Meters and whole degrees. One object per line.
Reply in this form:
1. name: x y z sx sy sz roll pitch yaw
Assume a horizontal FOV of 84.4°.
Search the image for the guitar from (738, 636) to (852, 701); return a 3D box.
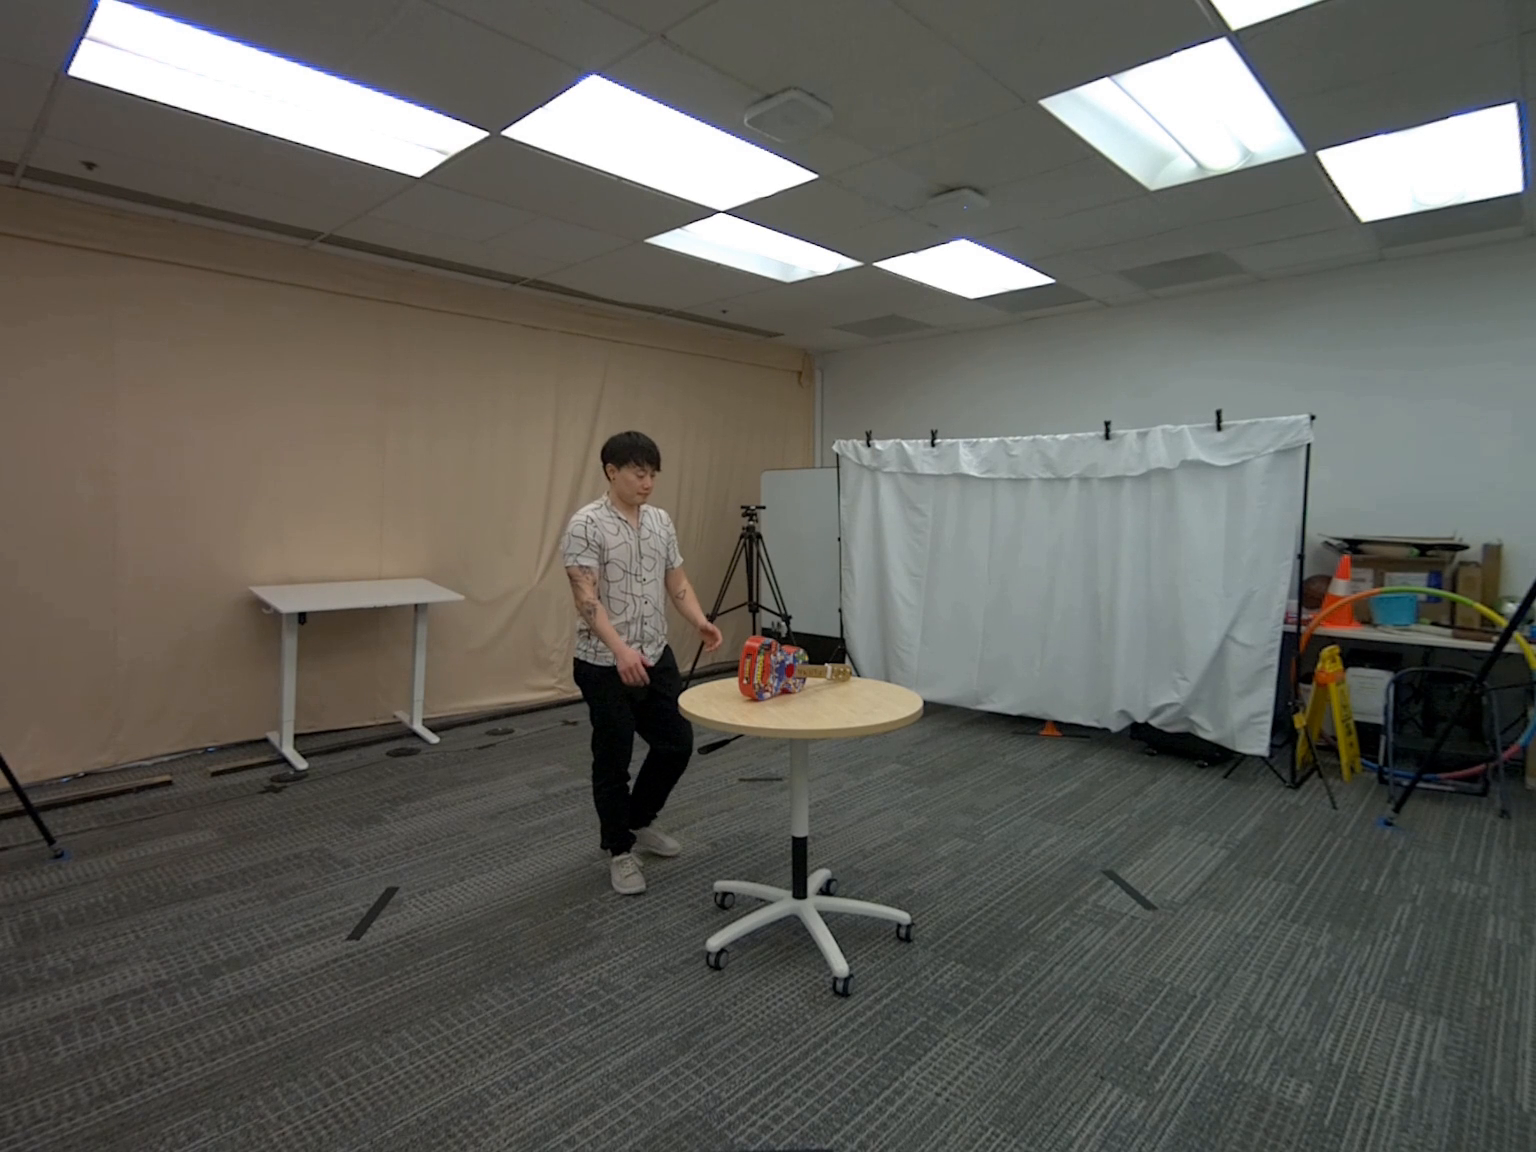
1. guitar: 0.095 0.336 2.763 0.073 0.194 0.480 3 -13 45
